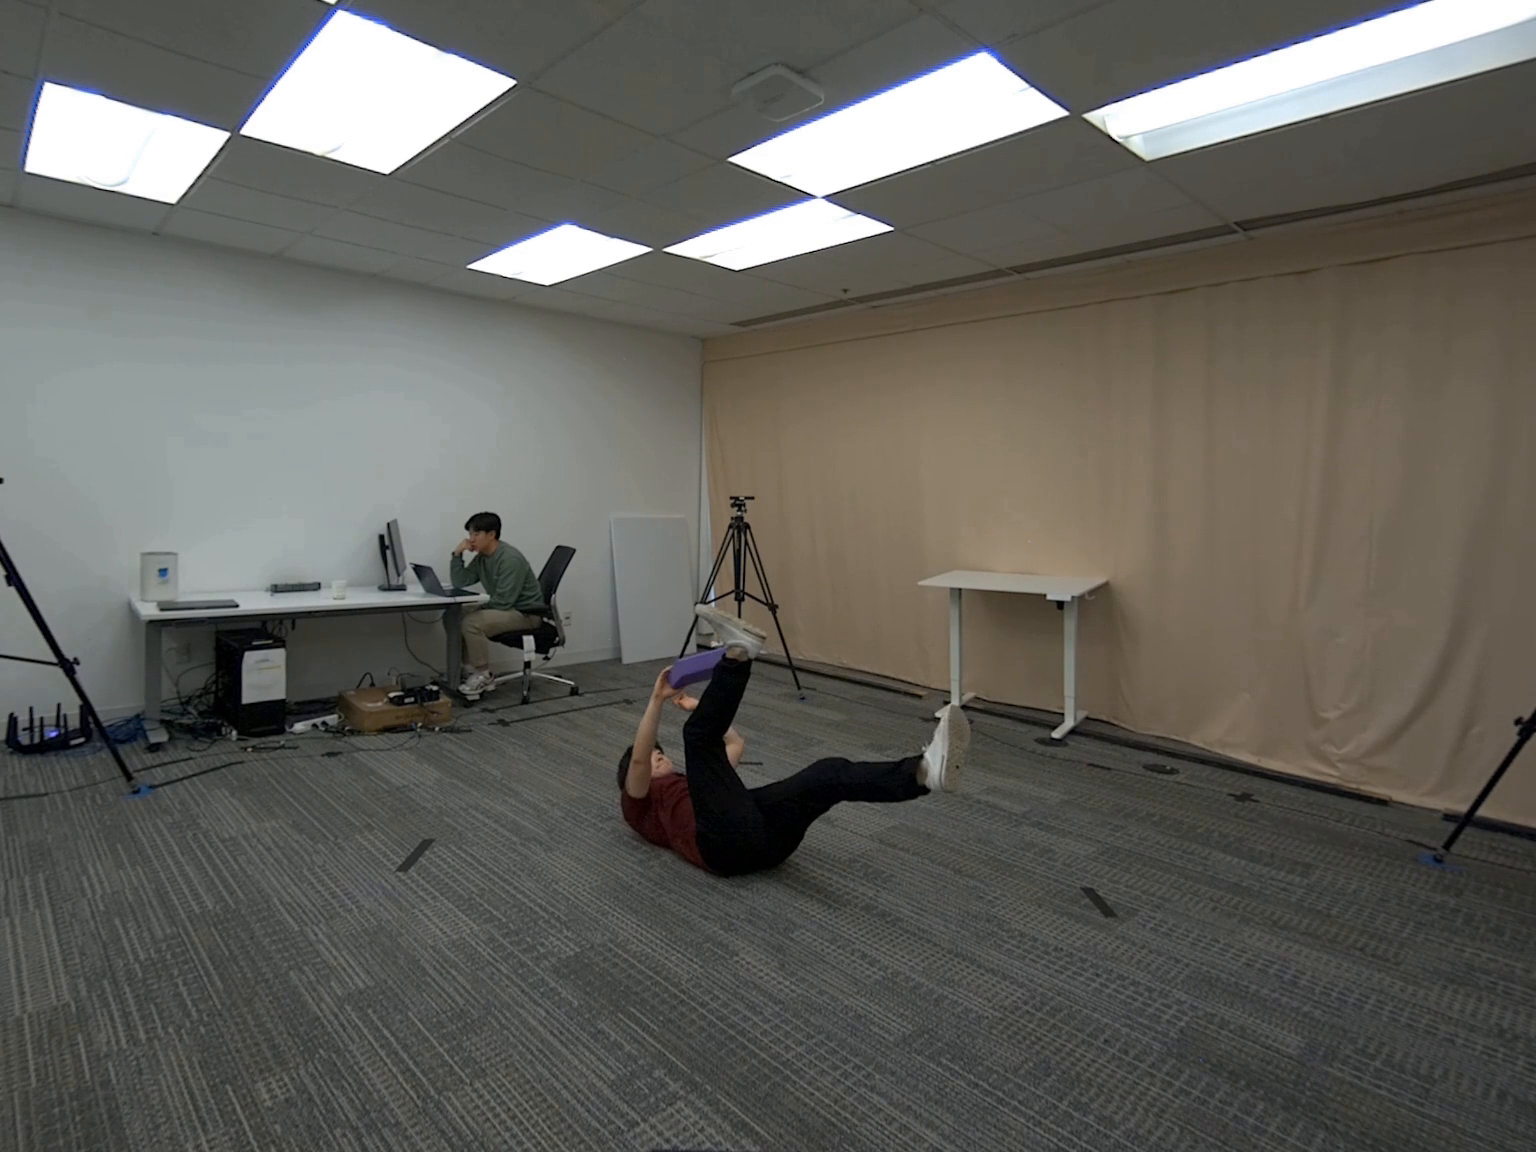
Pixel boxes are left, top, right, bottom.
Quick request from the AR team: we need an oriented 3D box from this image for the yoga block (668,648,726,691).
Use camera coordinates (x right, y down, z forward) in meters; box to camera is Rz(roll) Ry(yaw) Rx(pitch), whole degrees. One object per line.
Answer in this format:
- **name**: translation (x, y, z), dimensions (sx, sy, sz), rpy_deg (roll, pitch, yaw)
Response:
- **yoga block**: translation (-0.271, 0.363, 3.302), dimensions (0.225, 0.078, 0.148), rpy_deg (-12, -22, -31)
